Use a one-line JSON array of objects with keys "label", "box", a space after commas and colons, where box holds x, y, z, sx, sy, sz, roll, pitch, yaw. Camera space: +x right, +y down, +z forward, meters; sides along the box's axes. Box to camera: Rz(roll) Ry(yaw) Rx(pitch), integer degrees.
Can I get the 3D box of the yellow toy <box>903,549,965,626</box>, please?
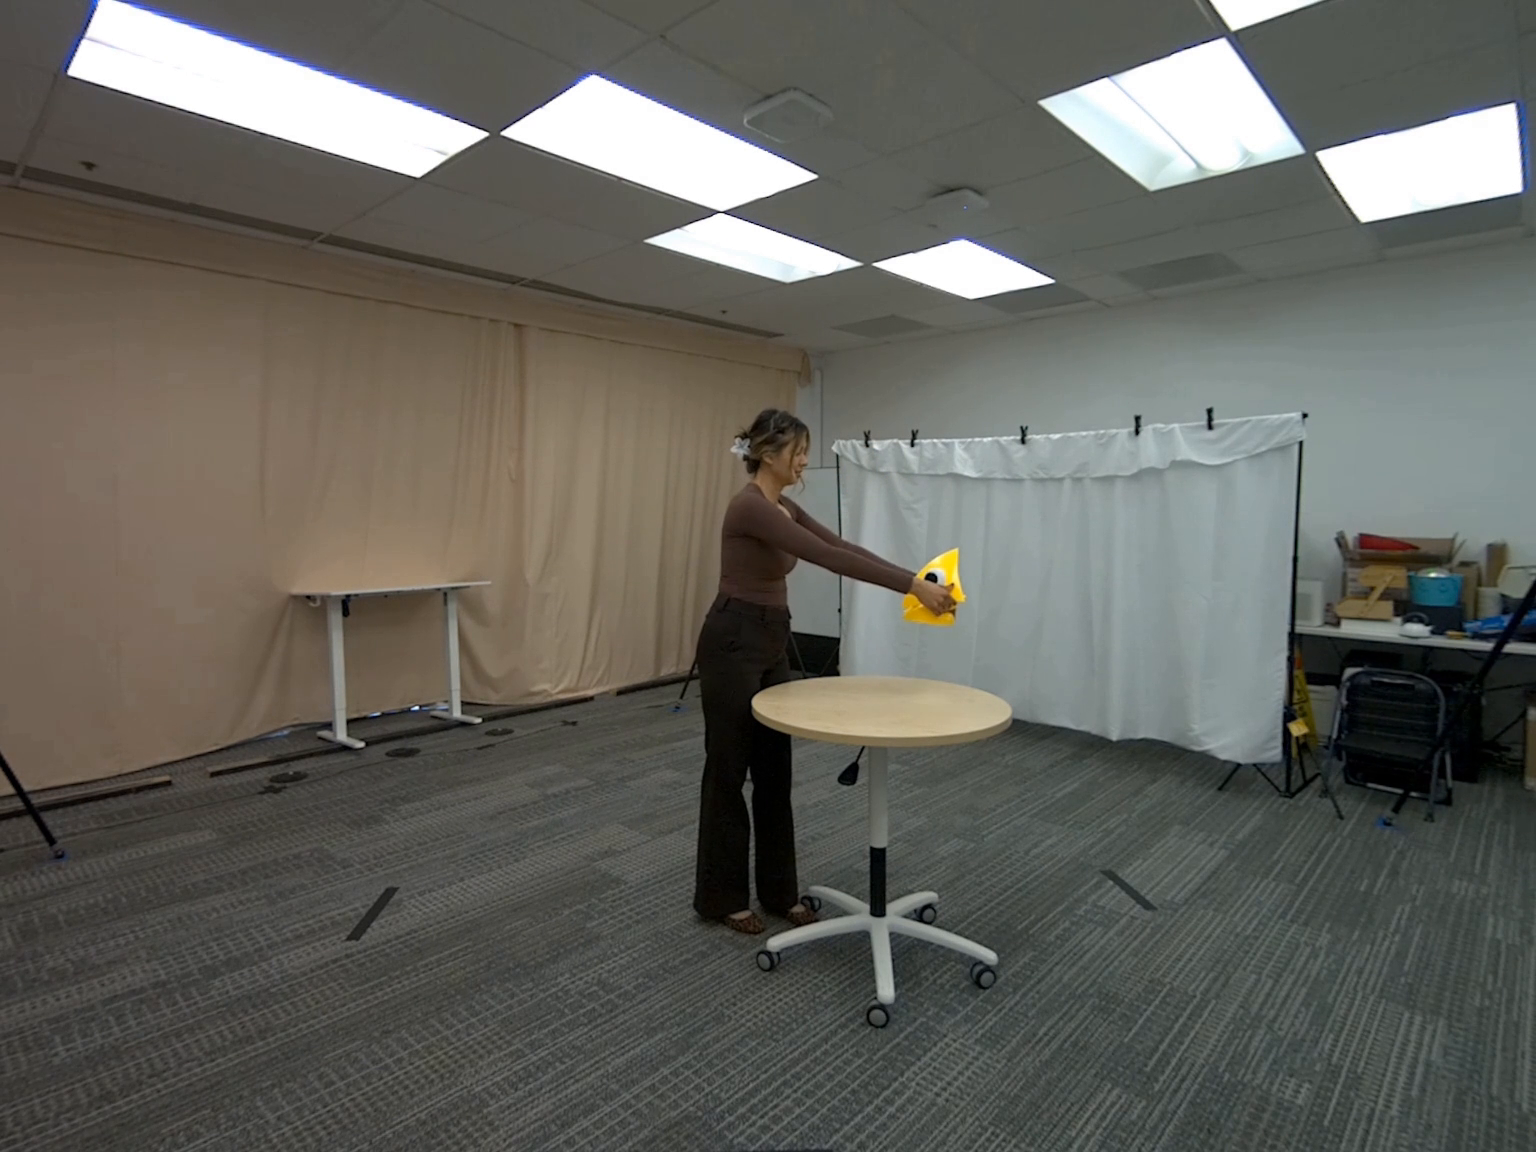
[{"label": "yellow toy", "box": [0.534, 0.024, 2.643, 0.196, 0.230, 0.203, 6, 7, 11]}]
